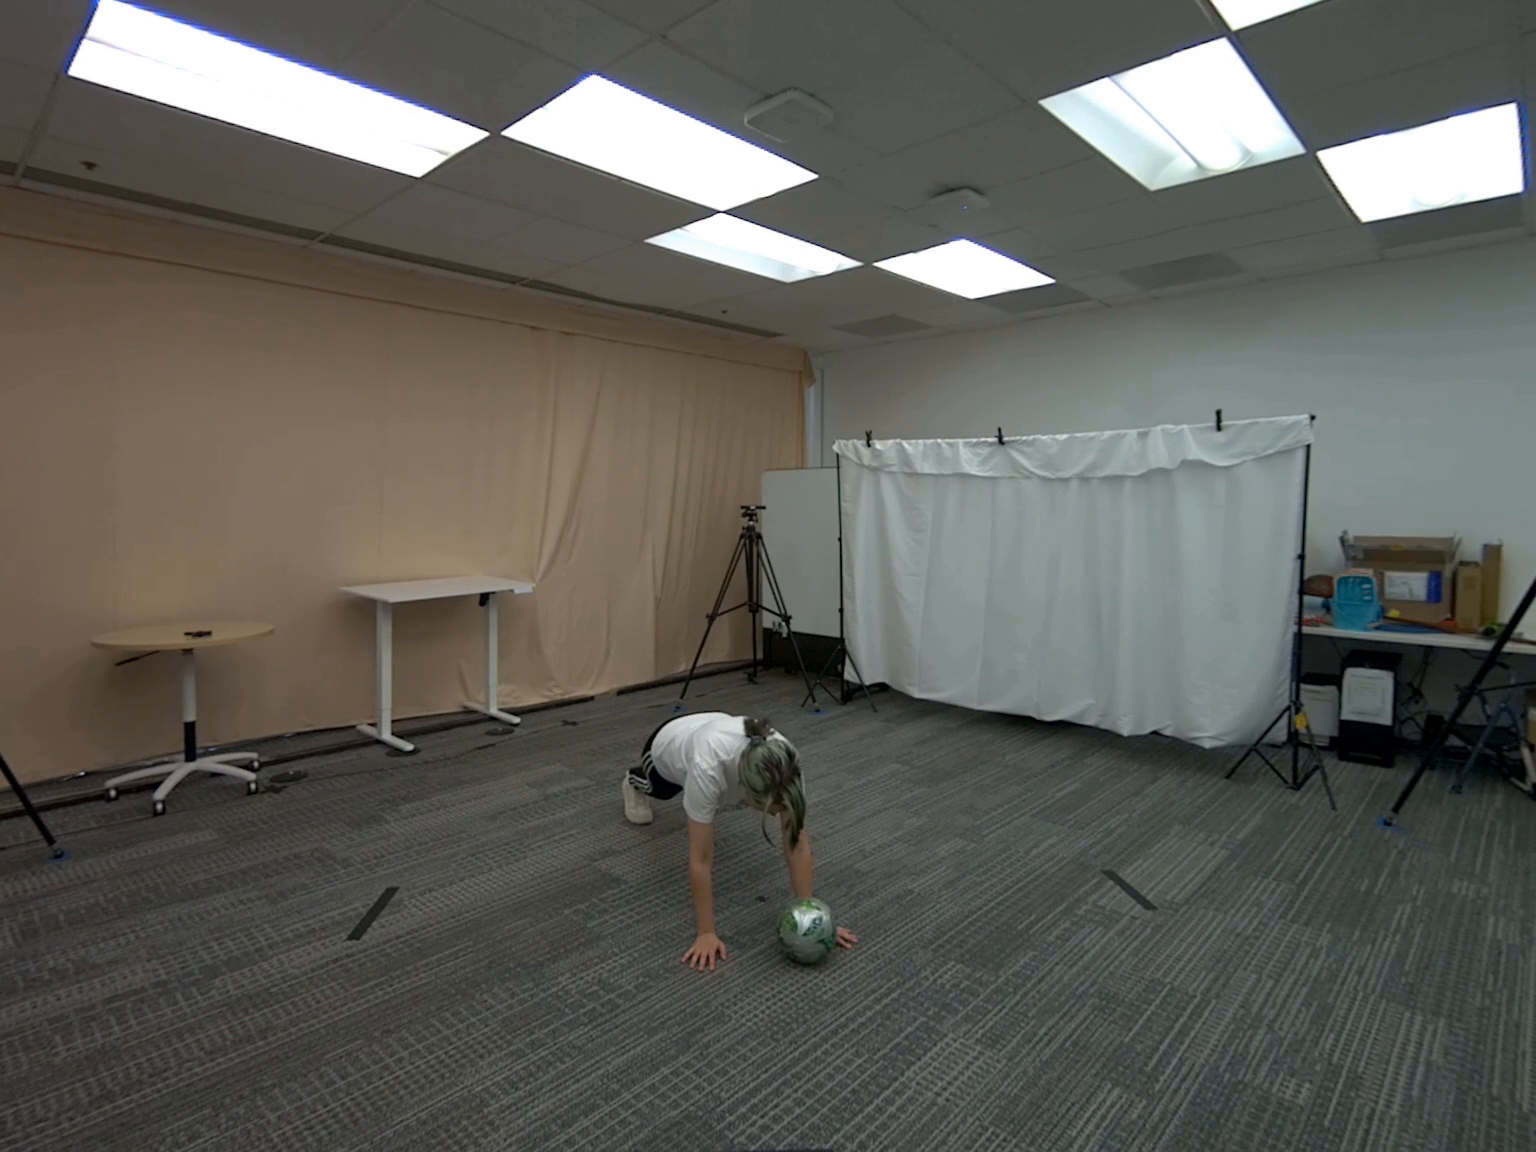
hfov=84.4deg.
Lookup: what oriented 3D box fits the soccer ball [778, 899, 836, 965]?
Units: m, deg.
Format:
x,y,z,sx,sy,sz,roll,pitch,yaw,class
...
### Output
x,y,z,sx,sy,sz,roll,pitch,yaw,class
0.122,1.085,2.579,0.187,0.187,0.188,0,4,-2,soccer ball
